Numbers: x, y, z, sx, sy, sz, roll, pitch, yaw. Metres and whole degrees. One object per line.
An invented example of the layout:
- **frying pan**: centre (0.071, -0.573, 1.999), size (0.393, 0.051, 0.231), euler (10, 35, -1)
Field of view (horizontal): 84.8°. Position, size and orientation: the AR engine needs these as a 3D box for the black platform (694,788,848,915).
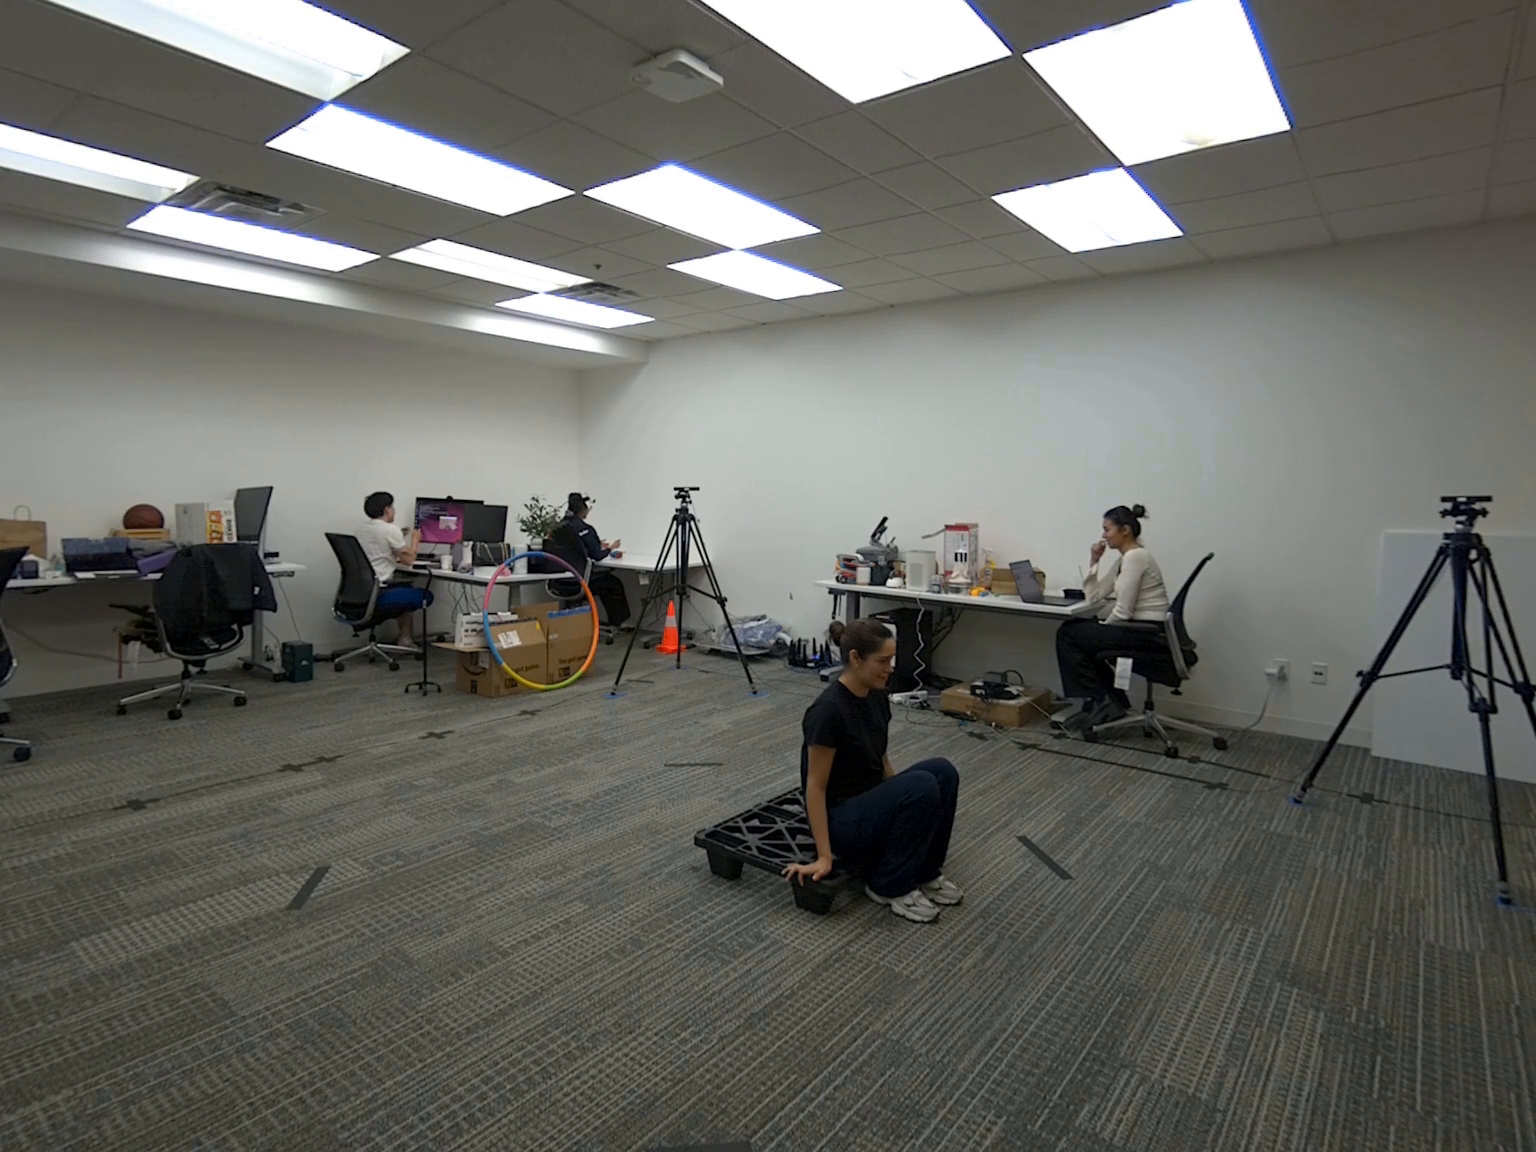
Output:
- **black platform**: centre (0.203, 0.995, 3.212), size (0.625, 0.143, 0.782), euler (4, 6, 38)
